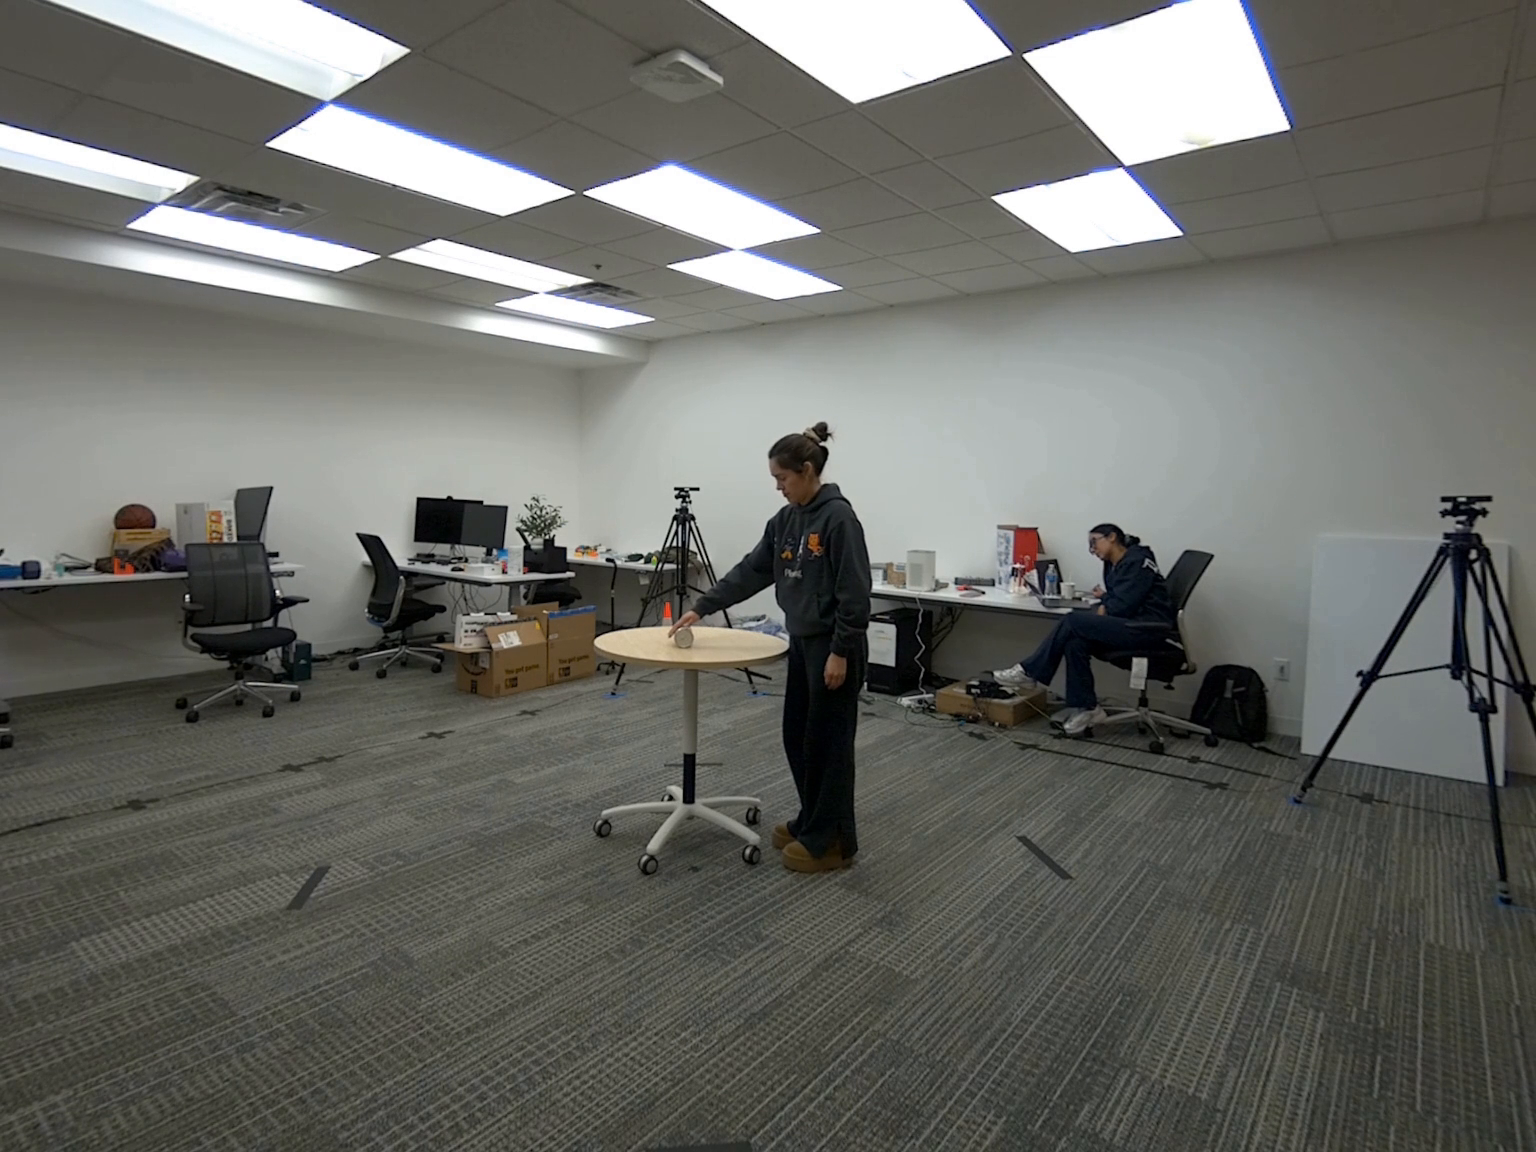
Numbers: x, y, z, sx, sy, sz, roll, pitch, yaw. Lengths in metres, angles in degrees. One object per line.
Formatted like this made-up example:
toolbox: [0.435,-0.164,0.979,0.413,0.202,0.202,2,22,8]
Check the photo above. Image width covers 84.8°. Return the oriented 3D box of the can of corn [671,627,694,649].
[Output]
can of corn: [-0.321,0.228,3.292,0.074,0.074,0.111,0,5,-1]
